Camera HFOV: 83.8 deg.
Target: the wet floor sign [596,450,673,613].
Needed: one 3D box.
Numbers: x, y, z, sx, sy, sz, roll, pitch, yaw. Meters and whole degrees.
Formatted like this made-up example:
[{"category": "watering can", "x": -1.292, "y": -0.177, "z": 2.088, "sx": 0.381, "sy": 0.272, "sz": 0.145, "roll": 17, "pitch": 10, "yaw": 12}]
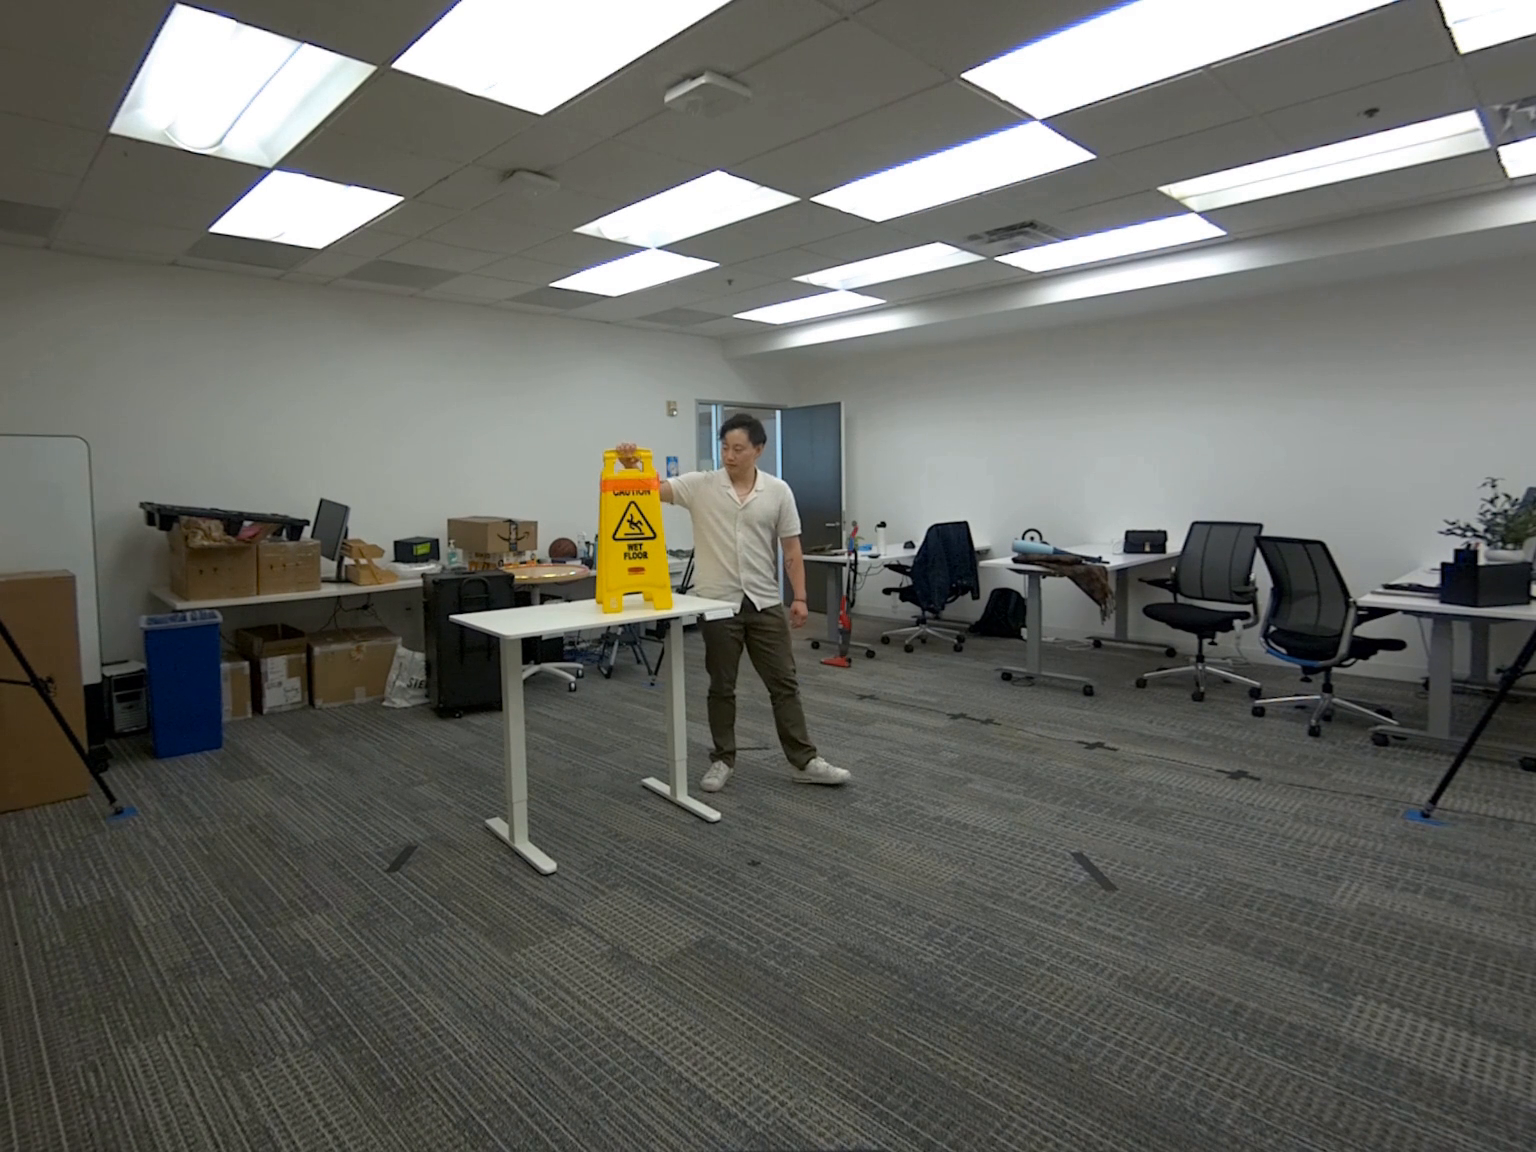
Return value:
[{"category": "wet floor sign", "x": -0.569, "y": -0.195, "z": 3.497, "sx": 0.279, "sy": 0.643, "sz": 0.295, "roll": -4, "pitch": 5, "yaw": -15}]
